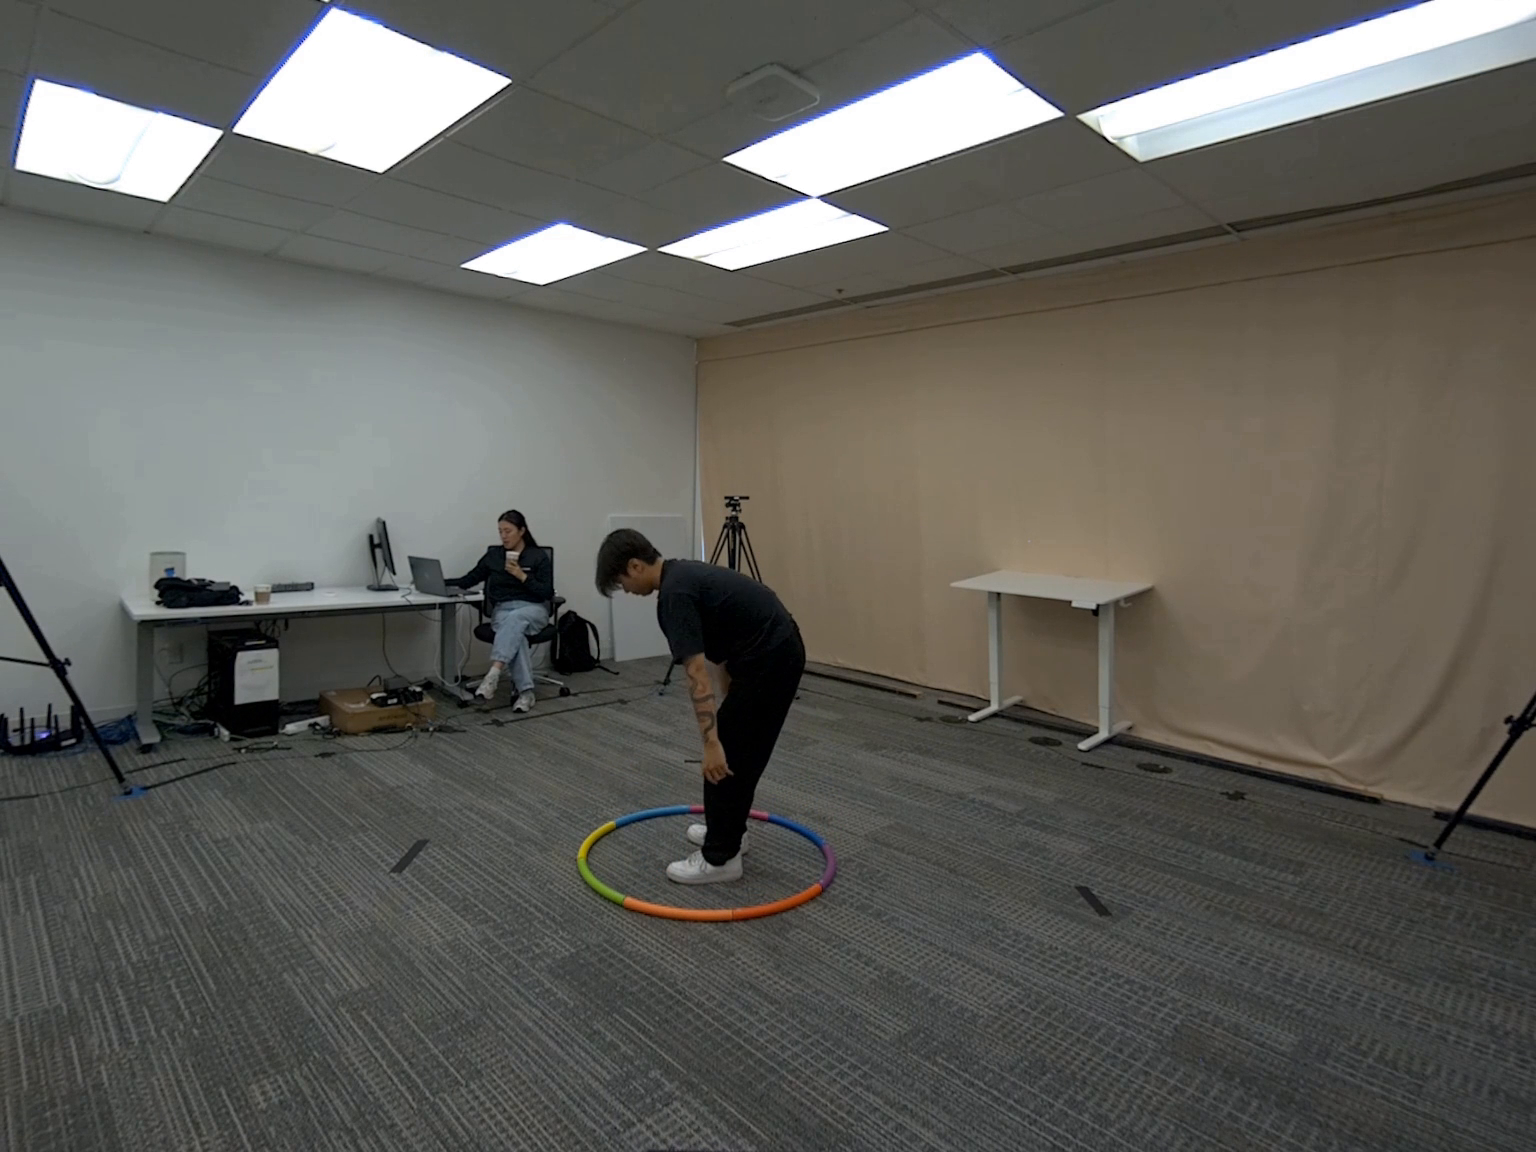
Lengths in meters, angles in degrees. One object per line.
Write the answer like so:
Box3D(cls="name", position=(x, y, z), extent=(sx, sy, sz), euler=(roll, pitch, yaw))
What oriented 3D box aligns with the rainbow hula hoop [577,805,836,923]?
Box3D(cls="rainbow hula hoop", position=(-0.238, 1.061, 3.236), extent=(0.978, 0.035, 0.982), euler=(1, 5, -1))
